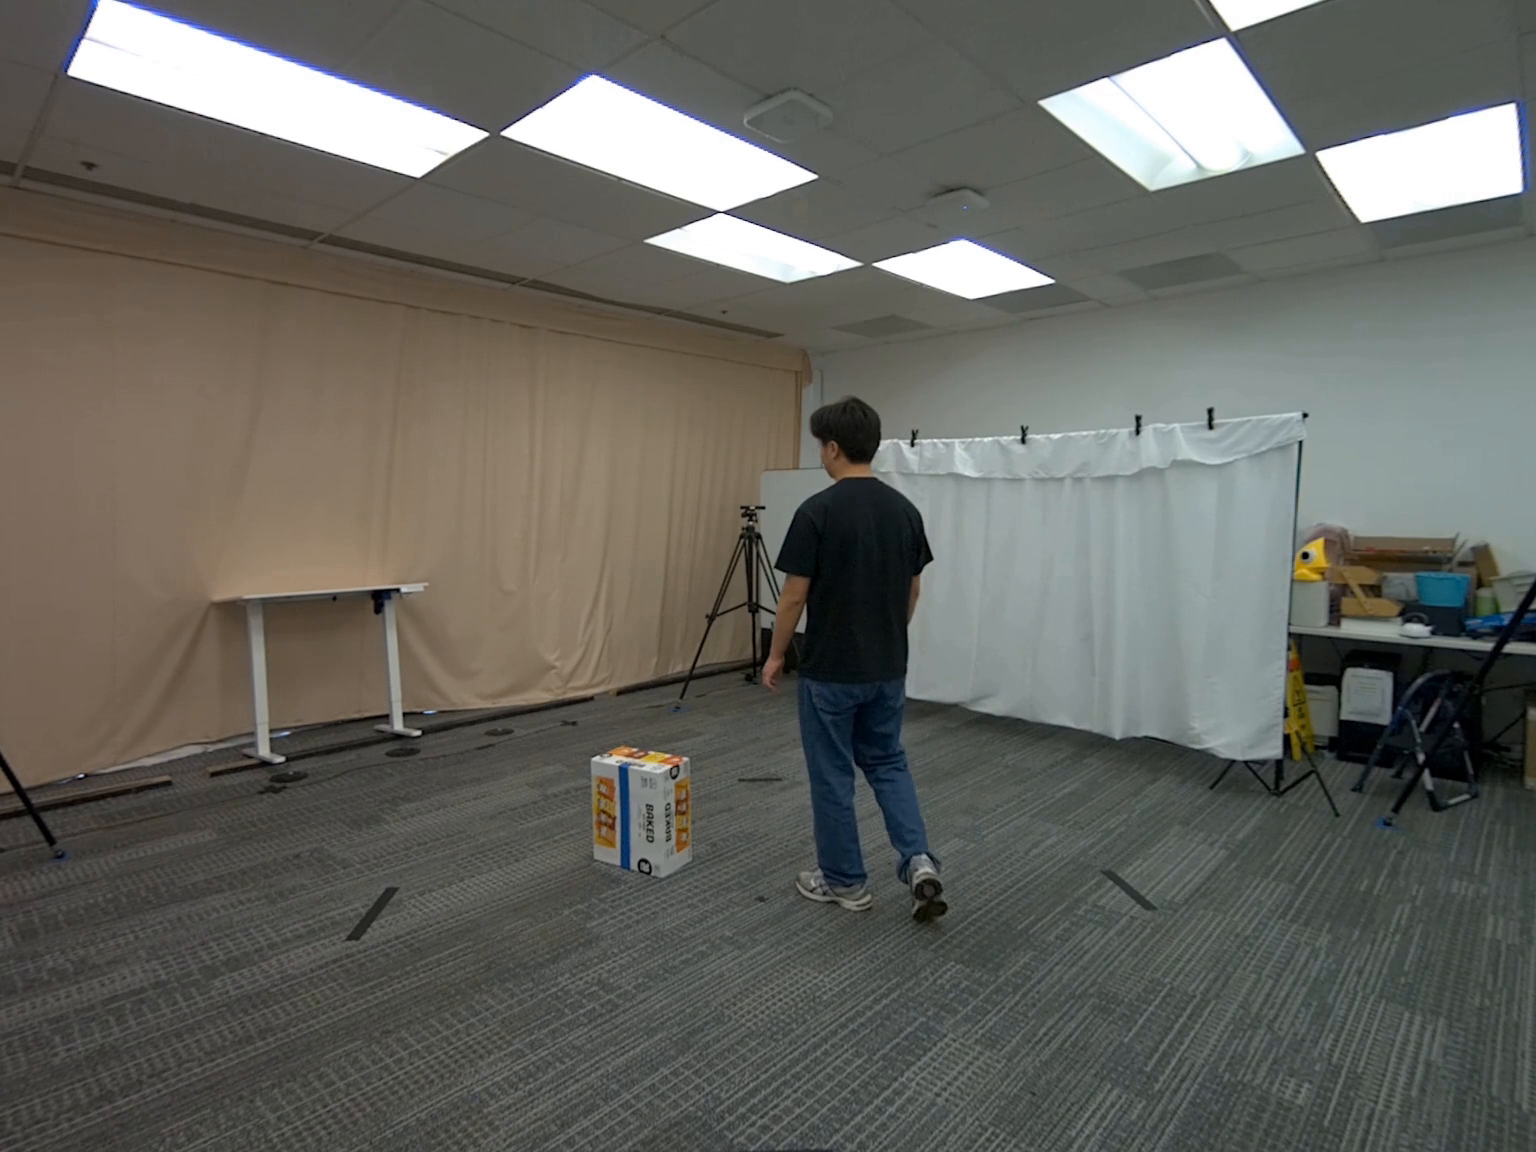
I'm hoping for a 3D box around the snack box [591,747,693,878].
[{"bbox_3d":[-0.496,0.917,3.312,0.350,0.404,0.200,2,4,31],"label":"snack box"}]
